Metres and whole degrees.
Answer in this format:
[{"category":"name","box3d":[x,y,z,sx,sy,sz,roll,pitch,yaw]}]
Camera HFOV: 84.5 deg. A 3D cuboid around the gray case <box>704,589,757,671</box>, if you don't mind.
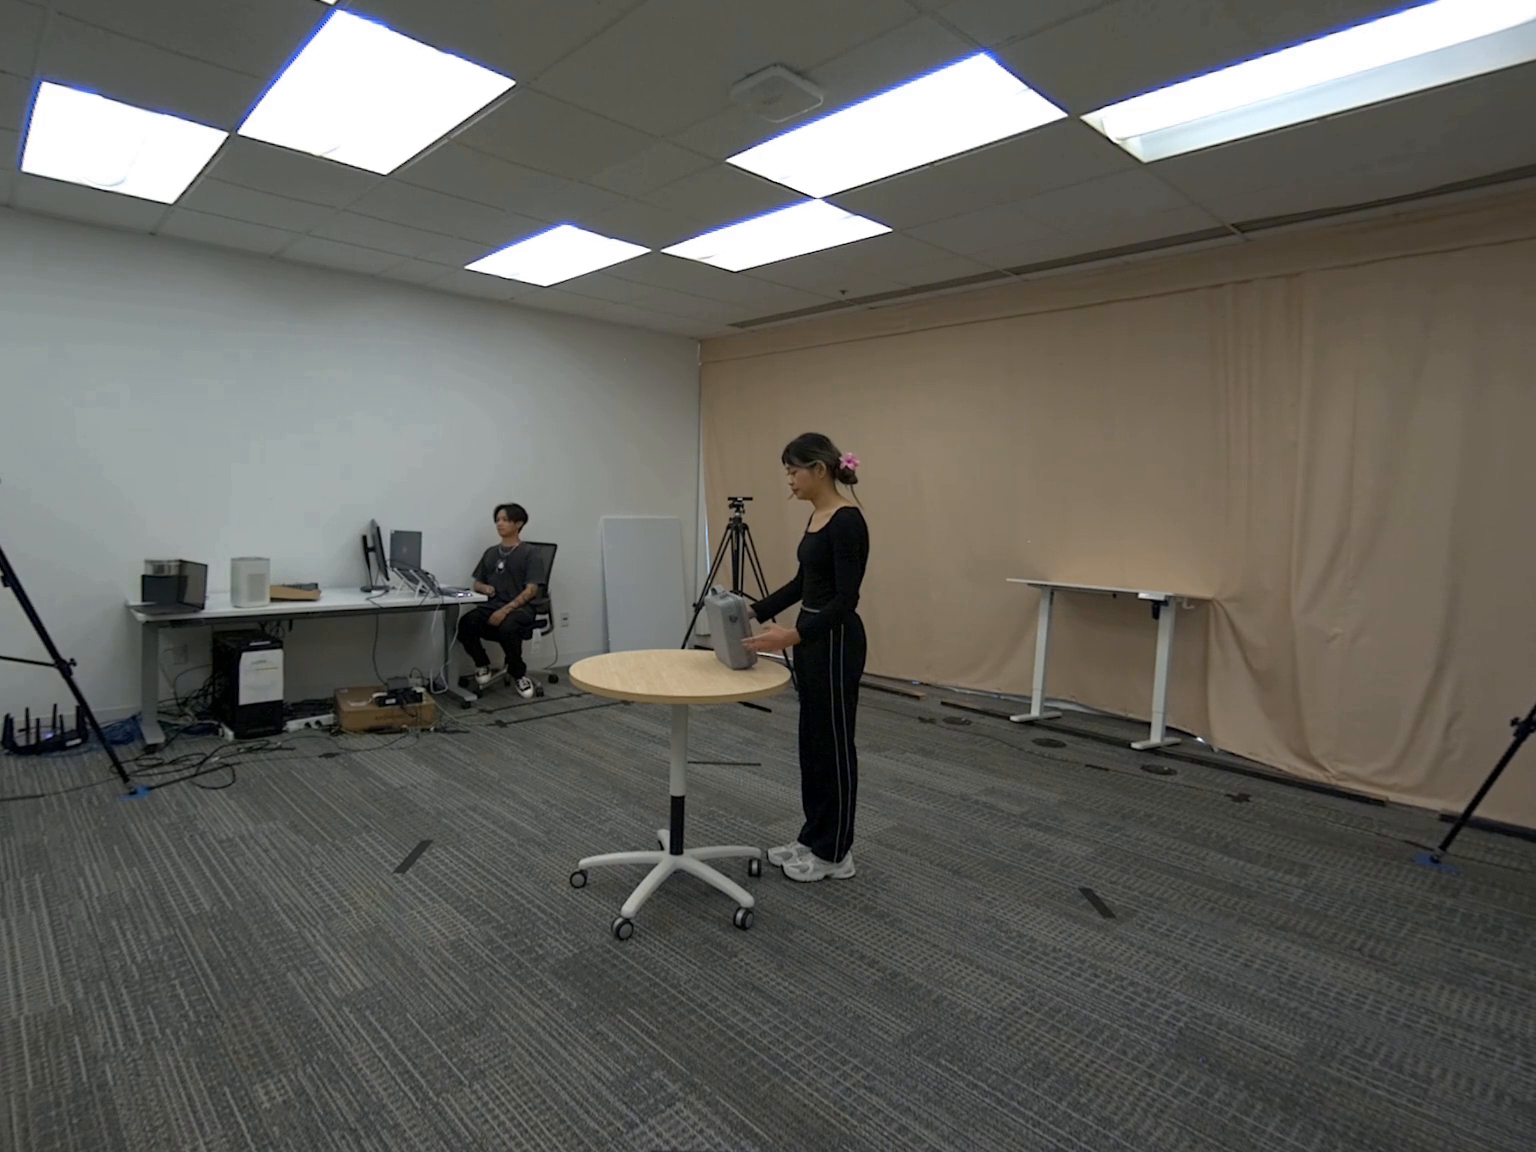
[{"category":"gray case","box3d":[-0.142,0.189,3.043,0.103,0.259,0.261,-13,7,-15]}]
